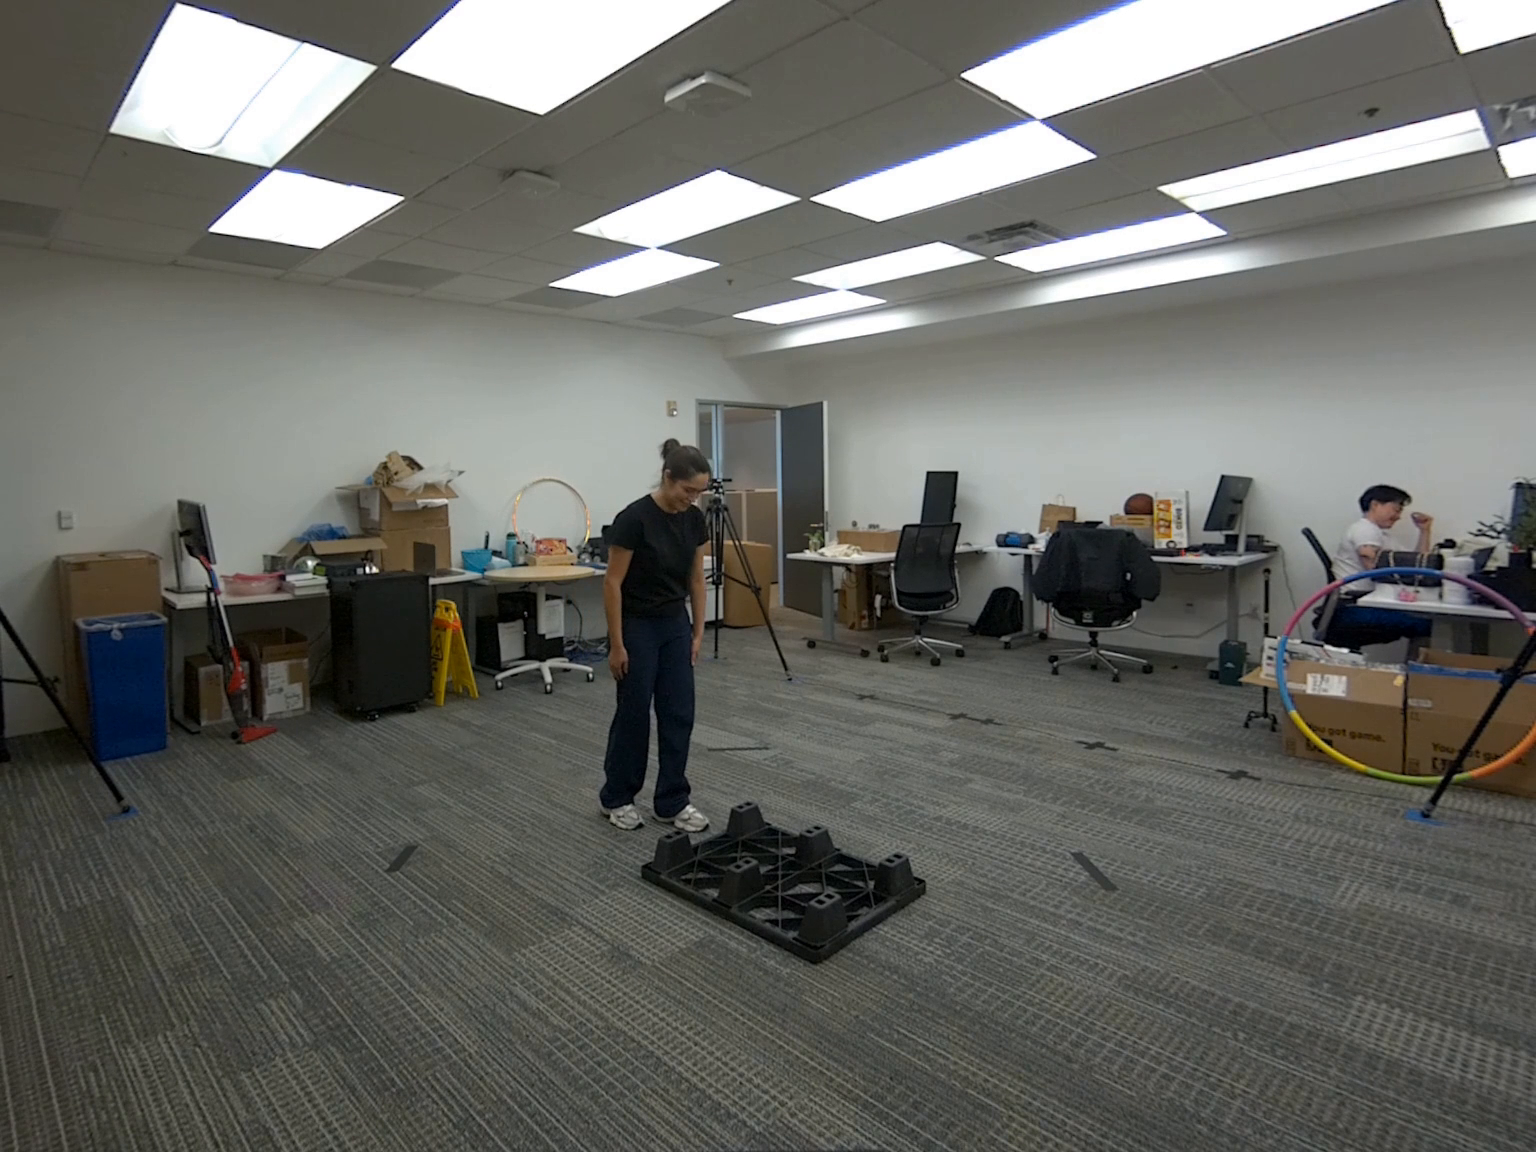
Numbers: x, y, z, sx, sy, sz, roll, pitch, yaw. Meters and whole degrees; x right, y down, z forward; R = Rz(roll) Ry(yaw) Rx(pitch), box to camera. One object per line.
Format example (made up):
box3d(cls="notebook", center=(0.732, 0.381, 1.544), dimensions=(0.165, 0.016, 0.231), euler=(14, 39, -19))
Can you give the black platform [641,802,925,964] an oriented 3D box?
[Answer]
box3d(cls="black platform", center=(0.046, 0.994, 2.948), dimensions=(0.831, 0.142, 0.589), euler=(5, 9, 43))
